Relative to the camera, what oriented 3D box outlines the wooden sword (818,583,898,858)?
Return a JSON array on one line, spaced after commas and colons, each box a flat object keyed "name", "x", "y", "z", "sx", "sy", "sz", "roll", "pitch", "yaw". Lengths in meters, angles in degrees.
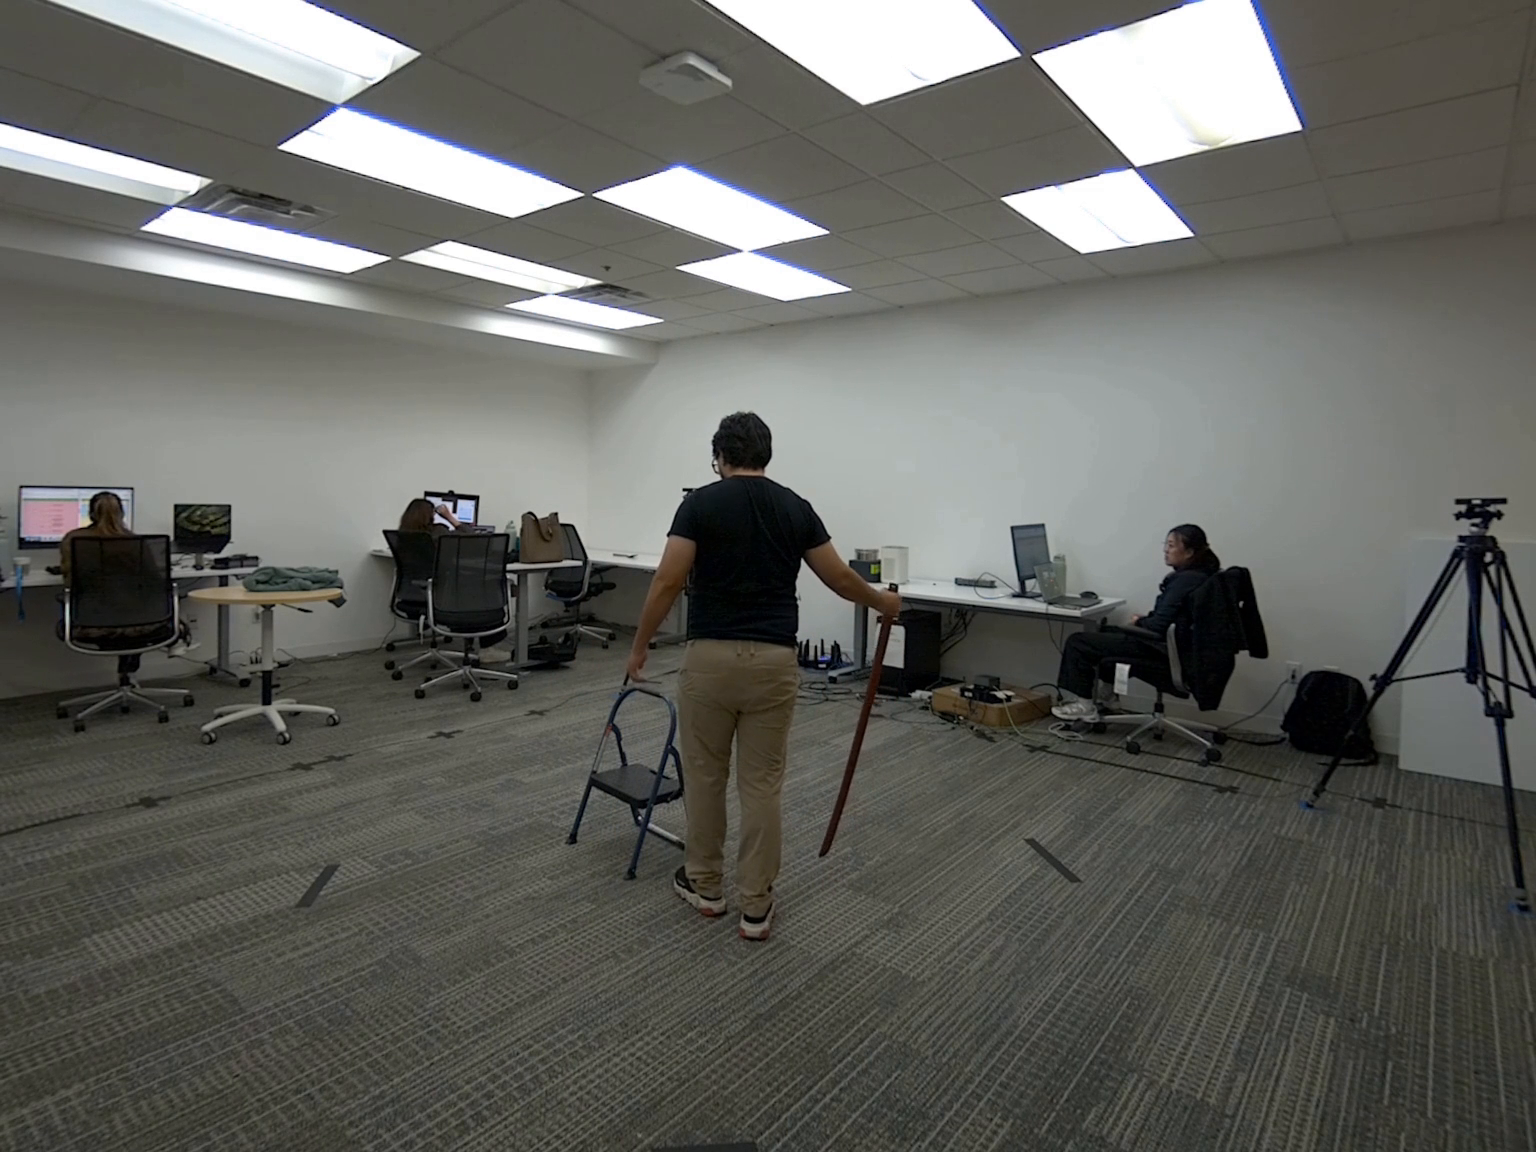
[{"name": "wooden sword", "x": 0.322, "y": 0.551, "z": 3.059, "sx": 0.023, "sy": 1.023, "sz": 0.053, "roll": 14, "pitch": 3, "yaw": -26}]
